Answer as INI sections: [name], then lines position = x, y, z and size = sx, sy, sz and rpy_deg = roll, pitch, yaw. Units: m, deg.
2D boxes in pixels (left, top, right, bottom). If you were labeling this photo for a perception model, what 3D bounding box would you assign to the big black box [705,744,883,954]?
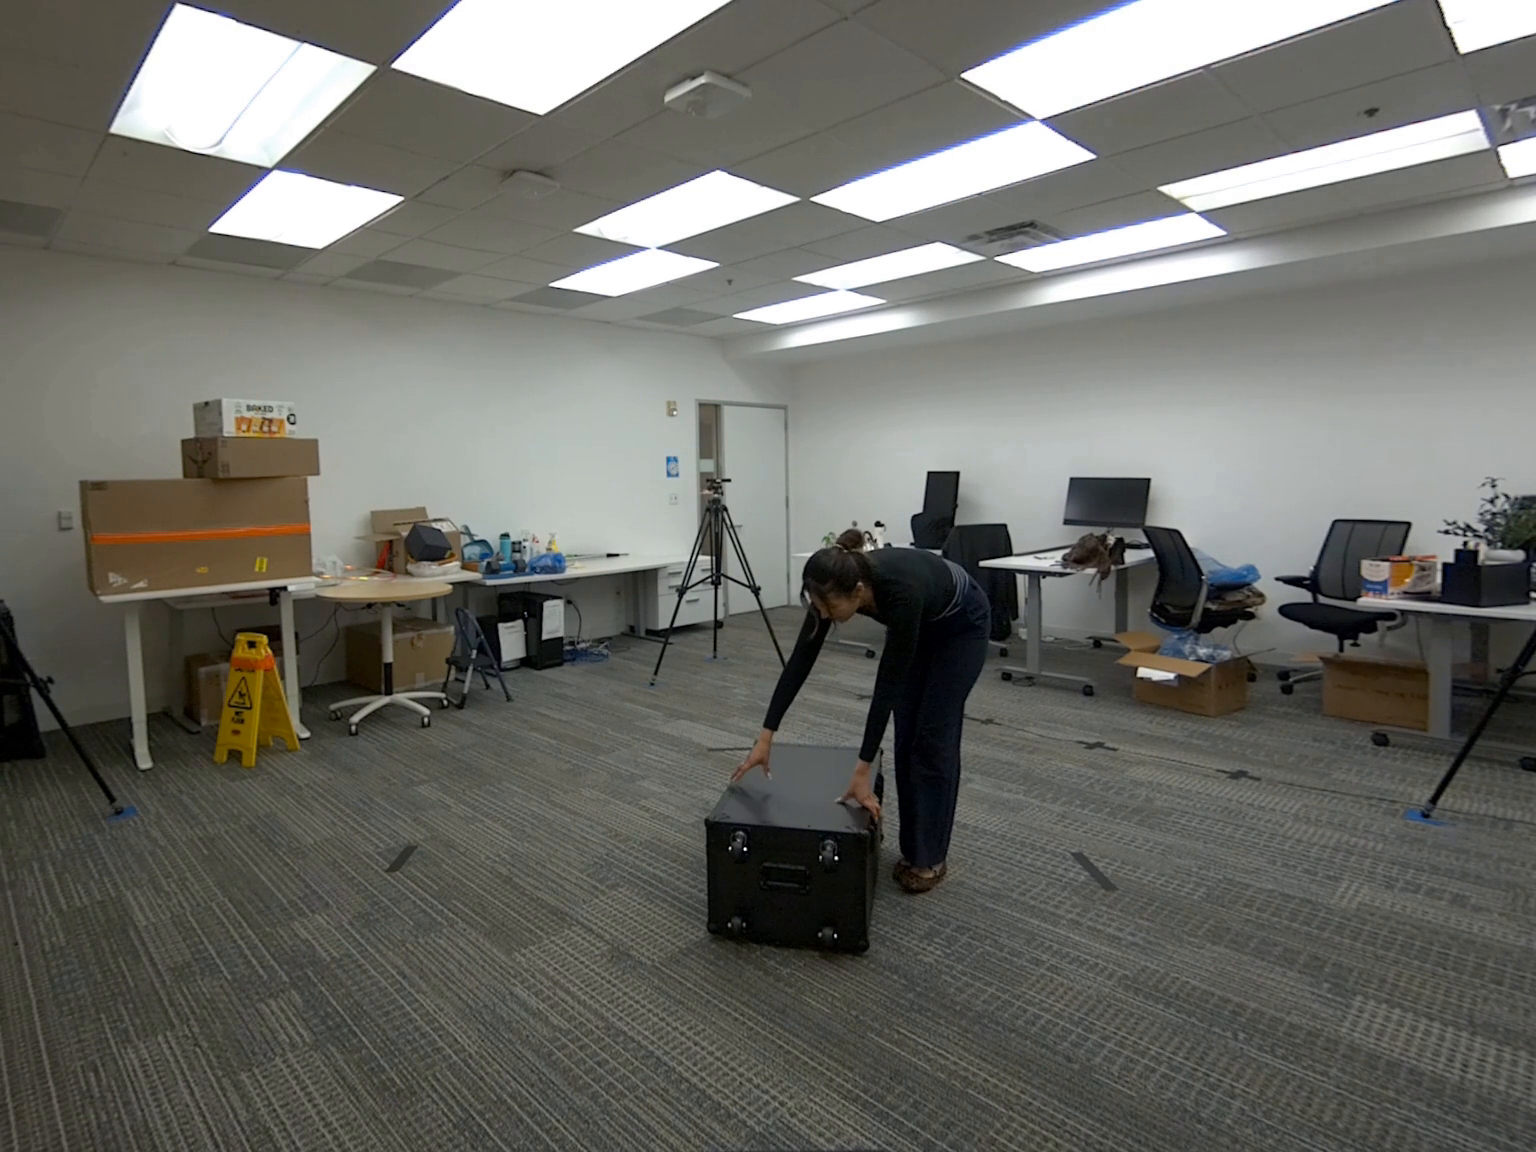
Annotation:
[big black box]
position = 0.111, 0.875, 2.863
size = 0.528, 0.395, 0.854
rpy_deg = 1, 6, 12
